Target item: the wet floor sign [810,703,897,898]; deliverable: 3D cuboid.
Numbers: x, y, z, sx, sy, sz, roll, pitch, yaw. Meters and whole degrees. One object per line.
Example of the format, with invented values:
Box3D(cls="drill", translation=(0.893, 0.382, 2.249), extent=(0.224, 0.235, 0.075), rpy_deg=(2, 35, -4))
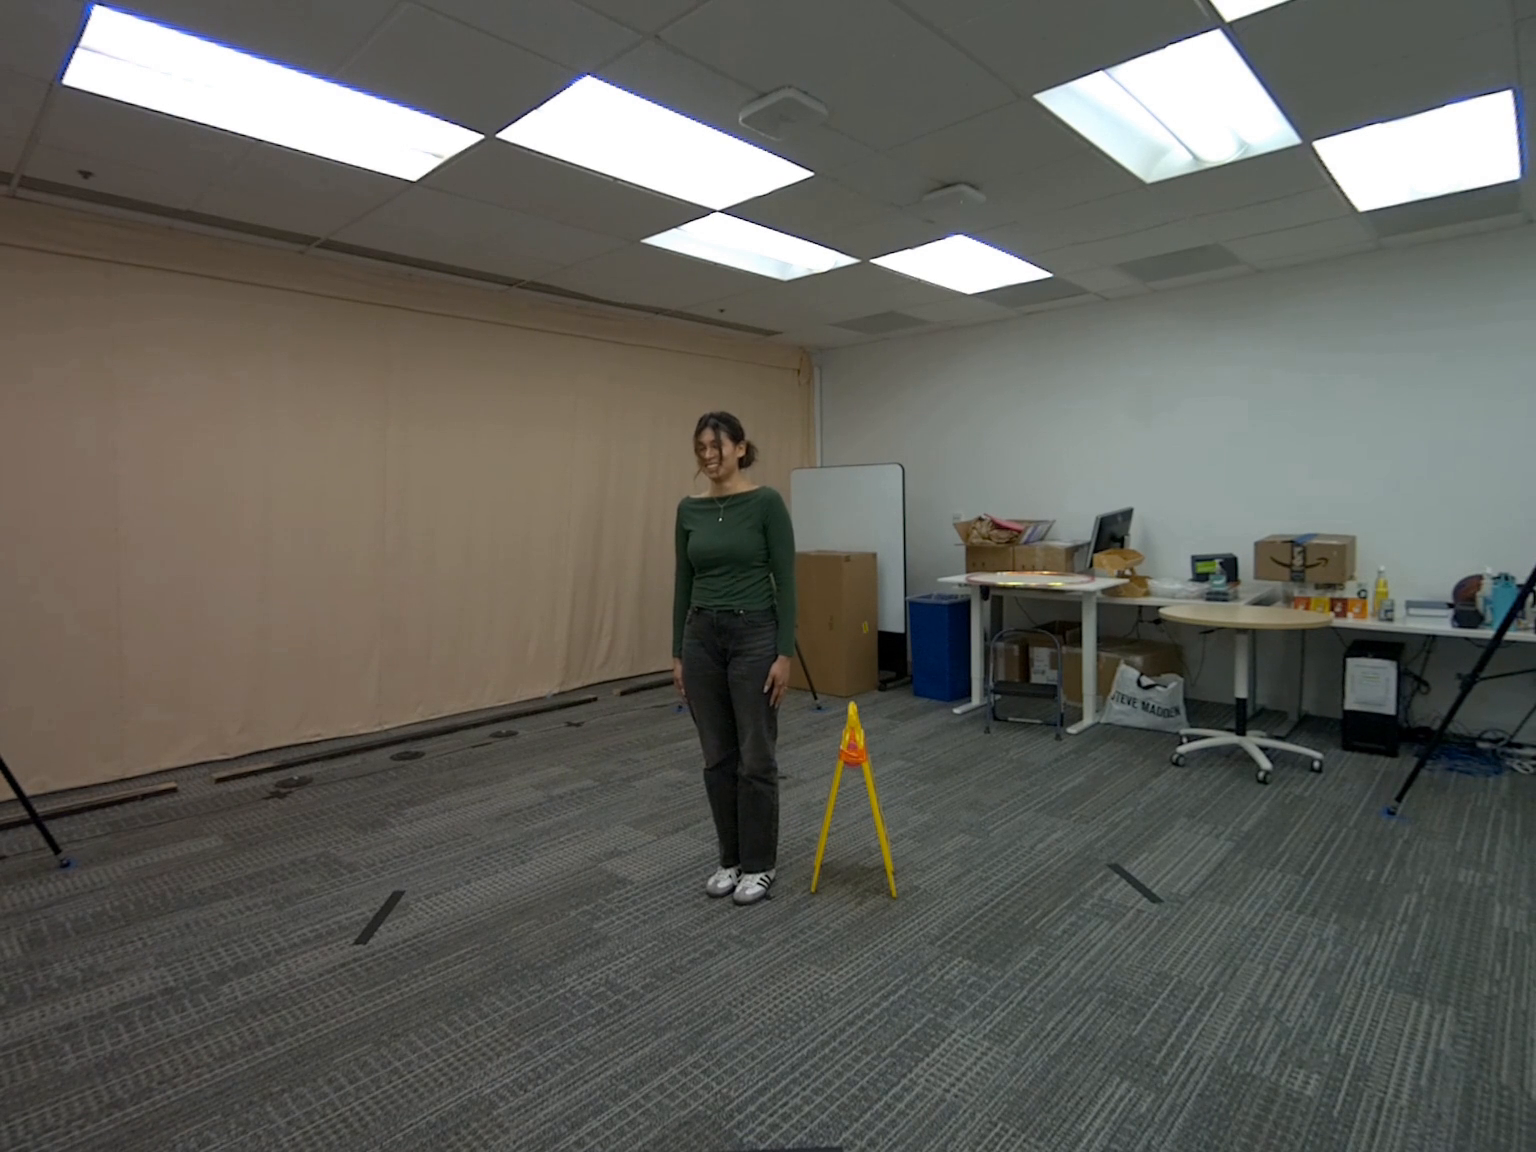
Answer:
Box3D(cls="wet floor sign", translation=(0.314, 0.803, 3.100), extent=(0.292, 0.645, 0.280), rpy_deg=(-1, 1, 7))
